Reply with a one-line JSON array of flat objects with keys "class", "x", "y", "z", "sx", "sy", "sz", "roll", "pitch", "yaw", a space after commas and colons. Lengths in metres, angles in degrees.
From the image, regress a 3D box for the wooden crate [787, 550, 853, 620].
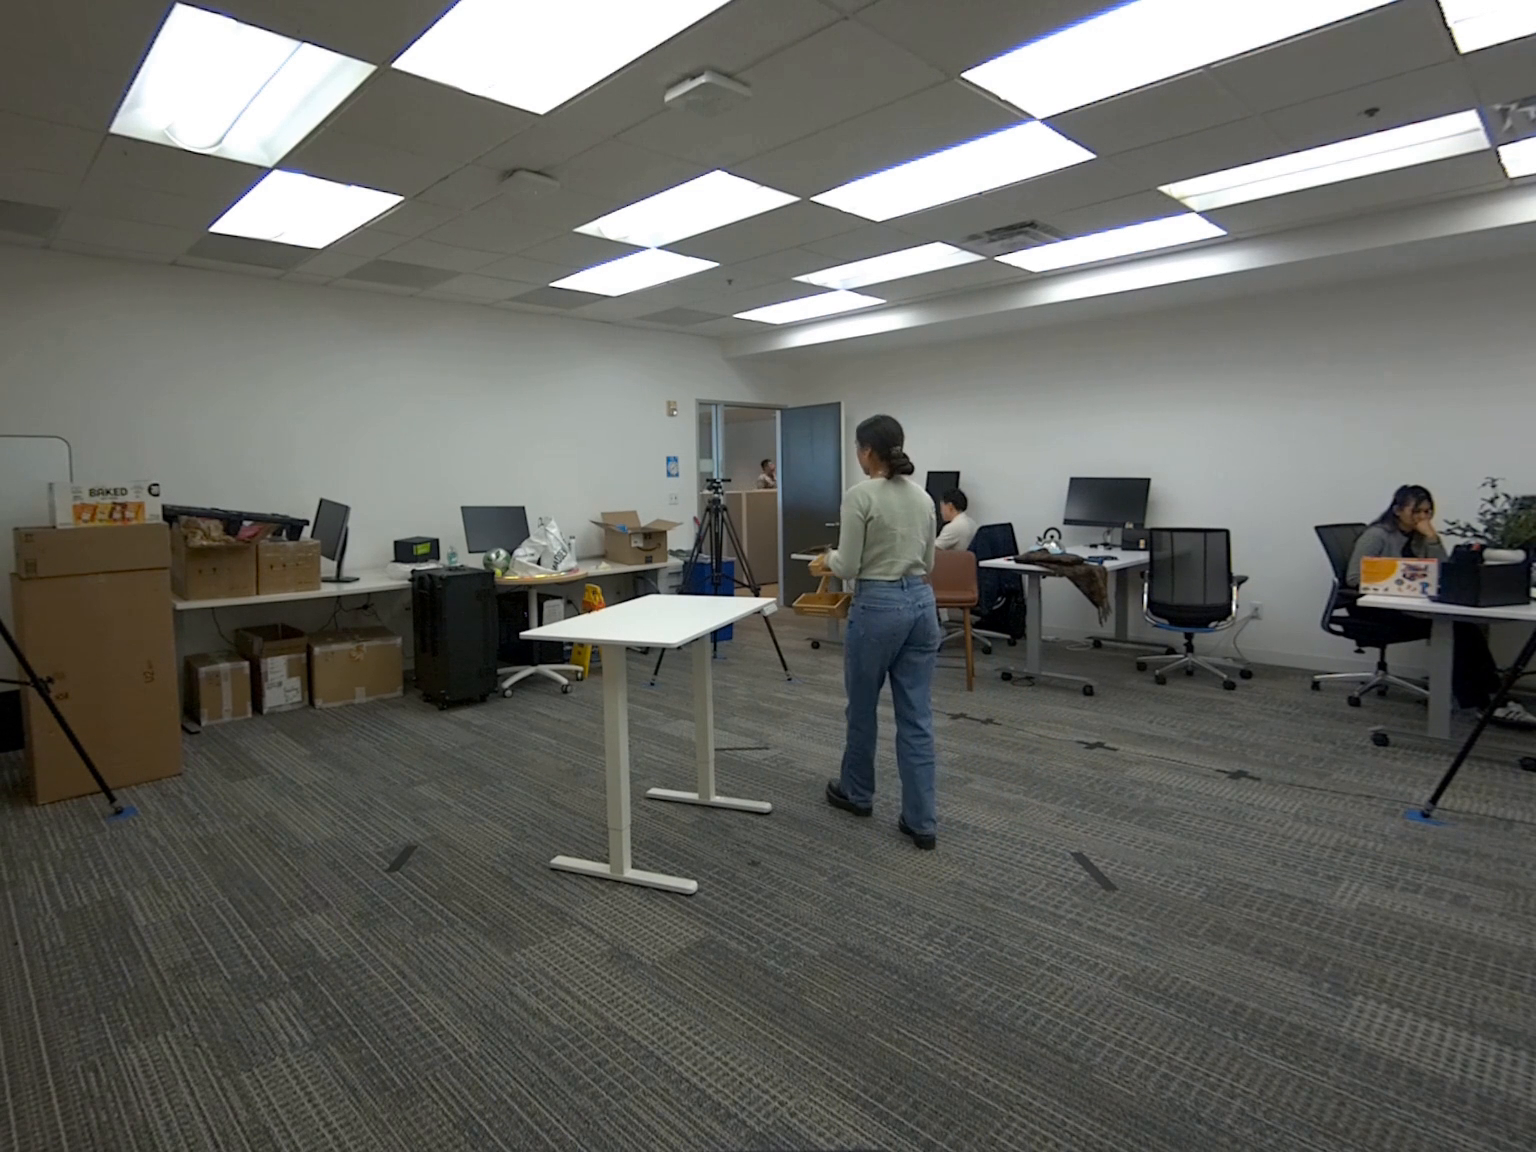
[{"class": "wooden crate", "x": 0.297, "y": 0.029, "z": 3.613, "sx": 0.294, "sy": 0.273, "sz": 0.332, "roll": 0, "pitch": 0, "yaw": -30}]
